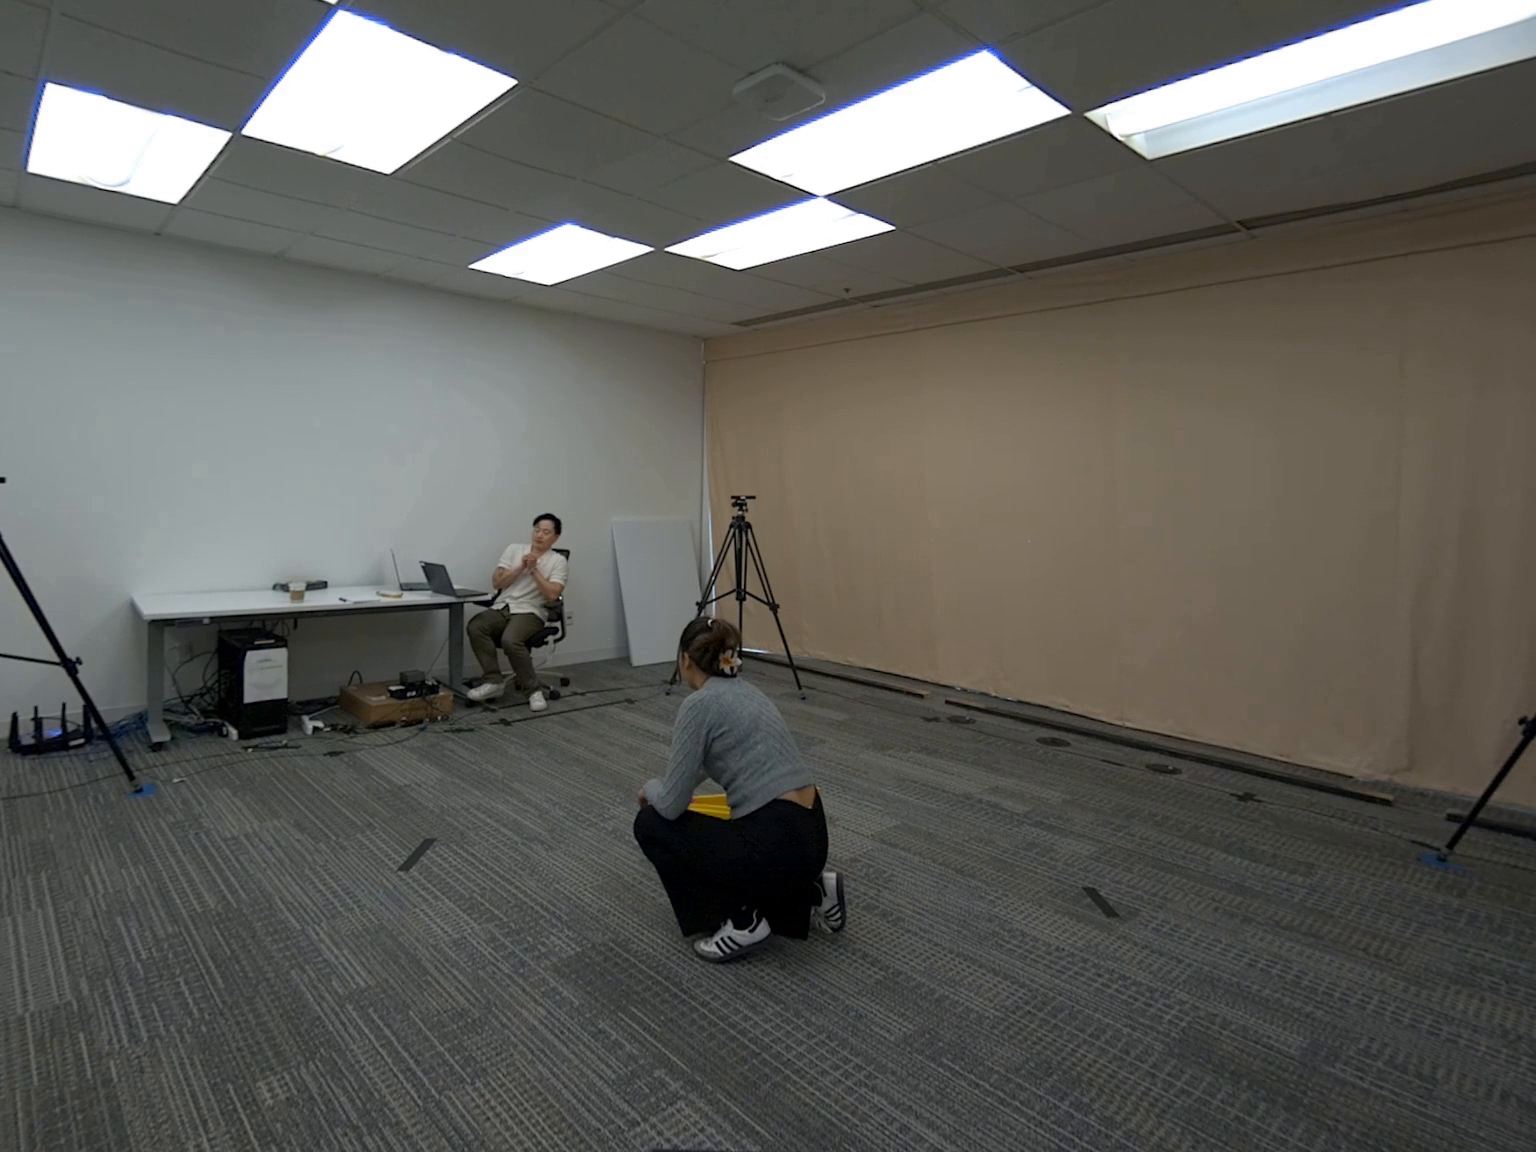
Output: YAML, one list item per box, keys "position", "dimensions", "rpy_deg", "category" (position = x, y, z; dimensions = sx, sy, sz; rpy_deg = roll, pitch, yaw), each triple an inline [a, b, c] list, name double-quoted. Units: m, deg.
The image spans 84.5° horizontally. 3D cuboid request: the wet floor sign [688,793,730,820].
- position: [-0.144, 0.969, 3.180]
  dimensions: [0.653, 0.281, 0.287]
  rpy_deg: [0, 4, 14]
  category: "wet floor sign"
